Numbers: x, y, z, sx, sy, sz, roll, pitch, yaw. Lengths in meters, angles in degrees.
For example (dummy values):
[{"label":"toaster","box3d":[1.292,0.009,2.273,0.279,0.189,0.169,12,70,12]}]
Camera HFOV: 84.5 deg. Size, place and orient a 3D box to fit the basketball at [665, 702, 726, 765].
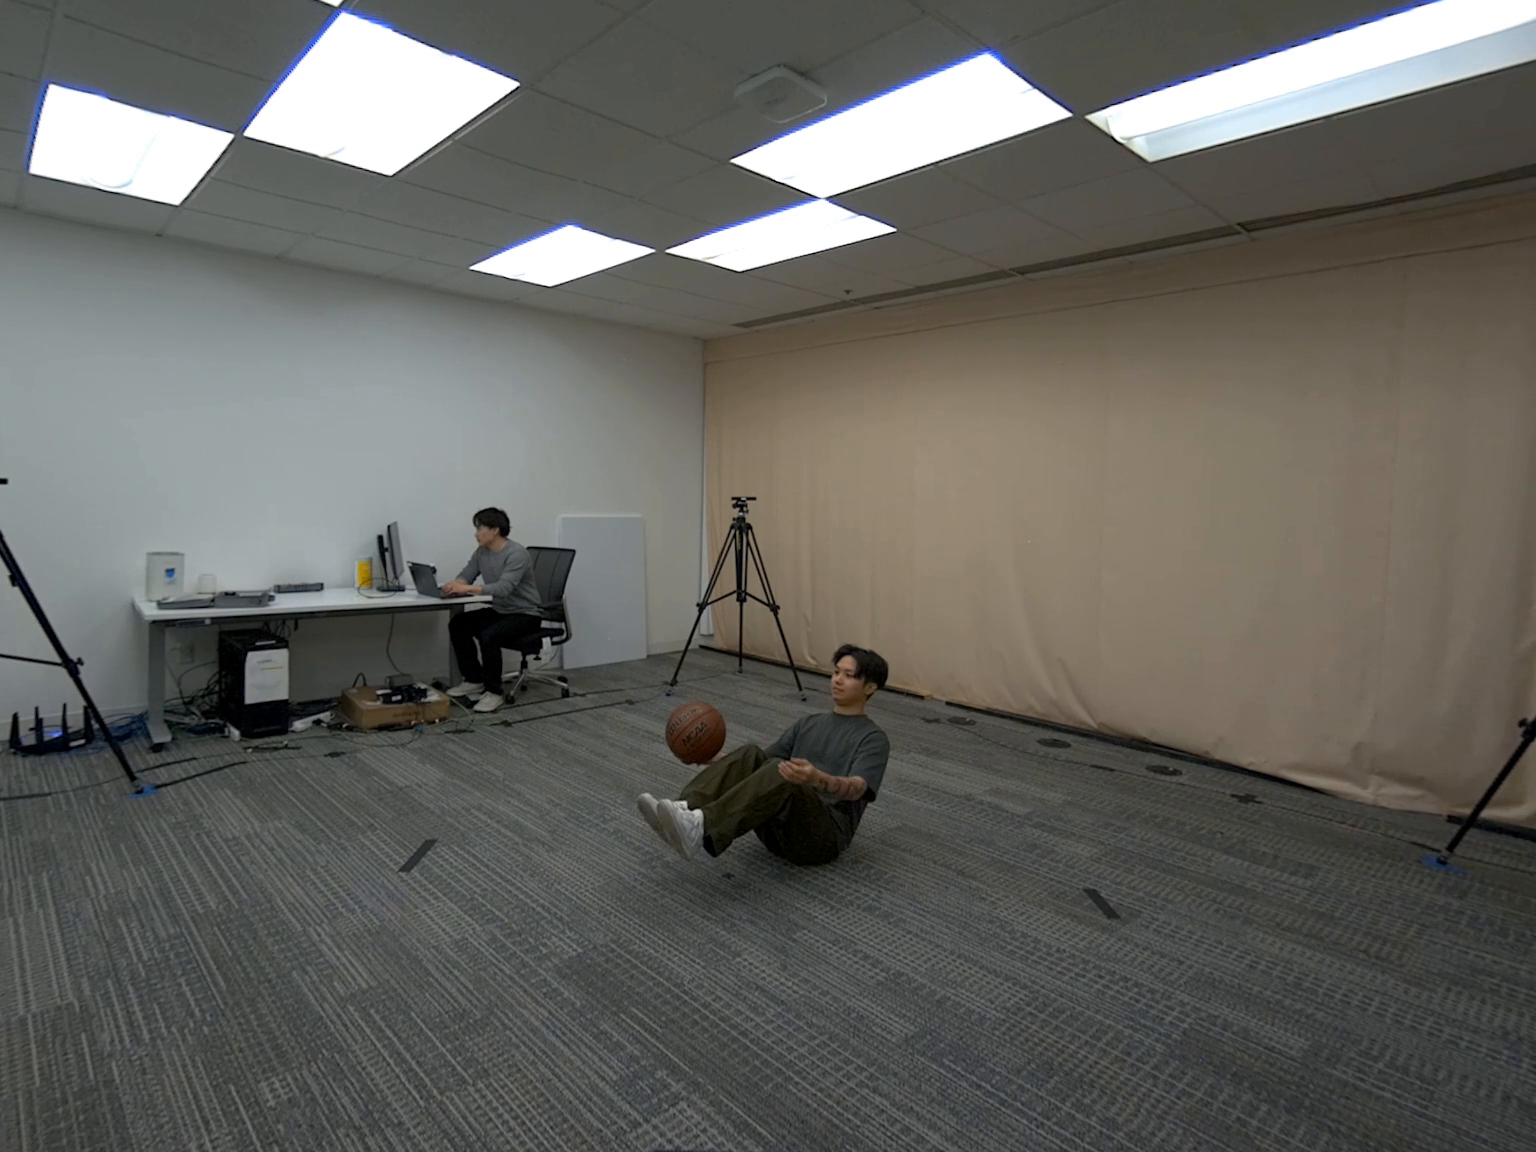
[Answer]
[{"label":"basketball","box3d":[-0.282,0.619,3.297,0.236,0.235,0.237,1,4,-1]}]
